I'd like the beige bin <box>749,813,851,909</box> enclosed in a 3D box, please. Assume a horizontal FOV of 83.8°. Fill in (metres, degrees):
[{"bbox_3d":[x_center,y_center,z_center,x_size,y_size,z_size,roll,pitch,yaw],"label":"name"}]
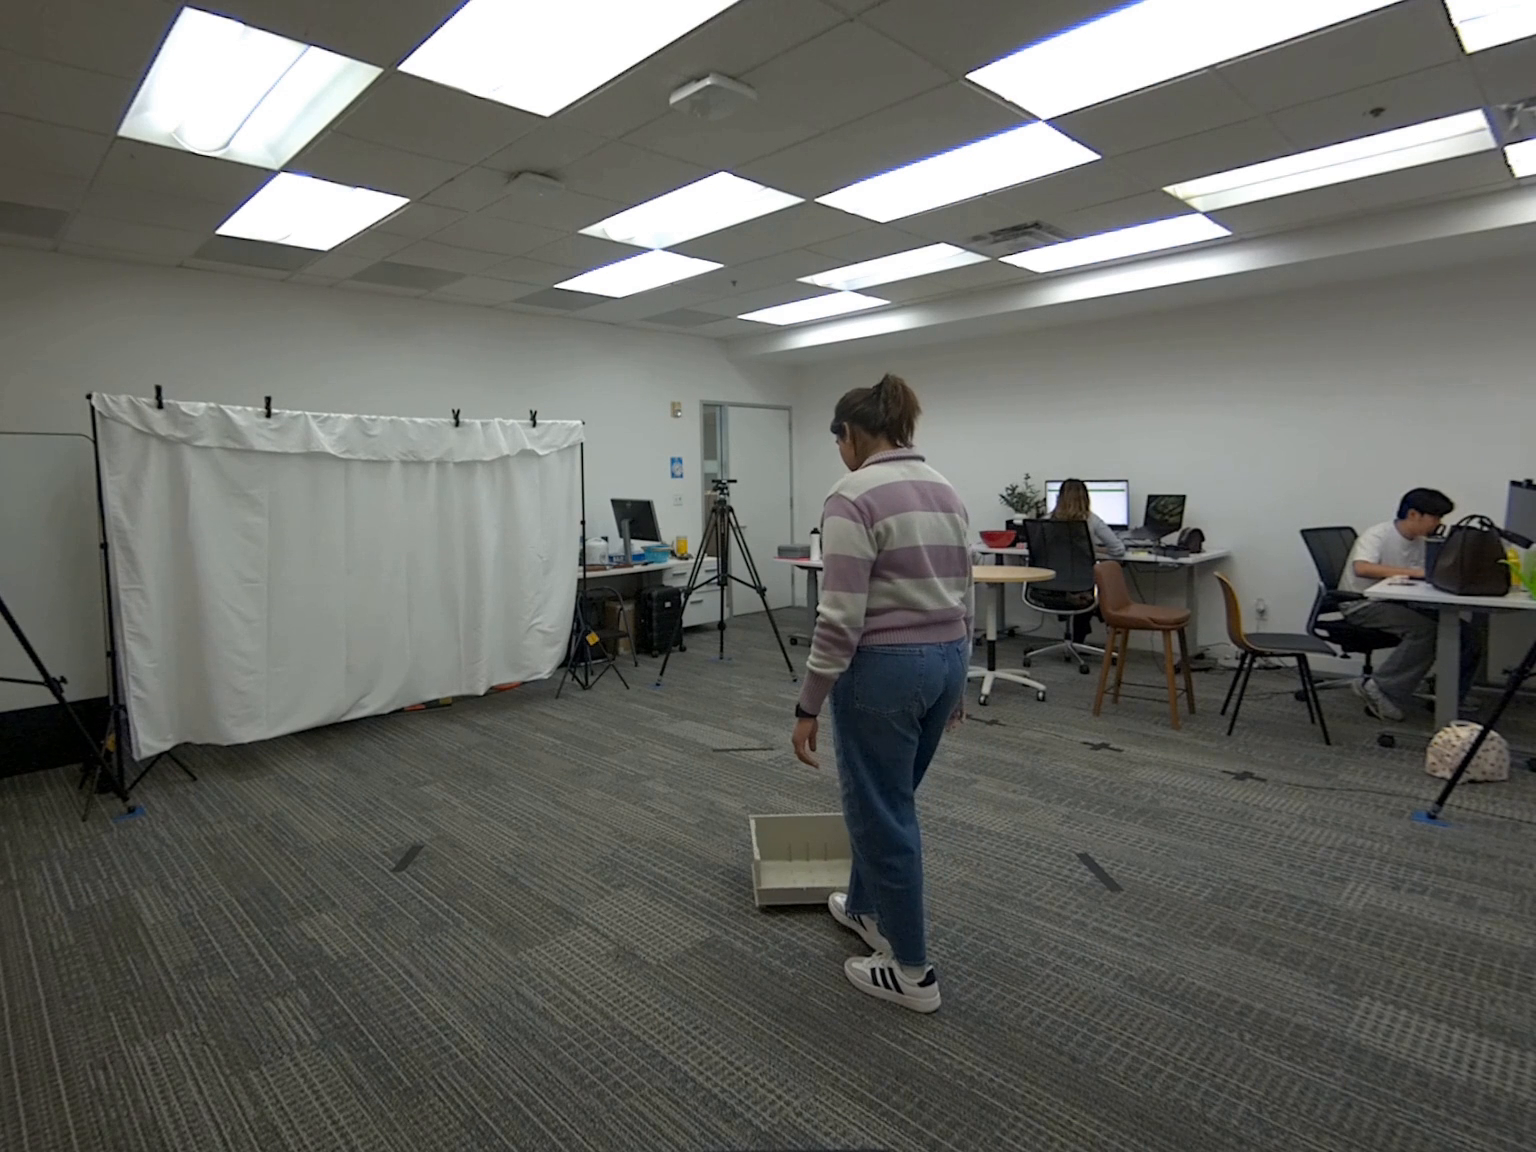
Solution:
[{"bbox_3d":[0.161,0.977,2.918,0.421,0.188,0.379,-2,5,-3],"label":"beige bin"}]
